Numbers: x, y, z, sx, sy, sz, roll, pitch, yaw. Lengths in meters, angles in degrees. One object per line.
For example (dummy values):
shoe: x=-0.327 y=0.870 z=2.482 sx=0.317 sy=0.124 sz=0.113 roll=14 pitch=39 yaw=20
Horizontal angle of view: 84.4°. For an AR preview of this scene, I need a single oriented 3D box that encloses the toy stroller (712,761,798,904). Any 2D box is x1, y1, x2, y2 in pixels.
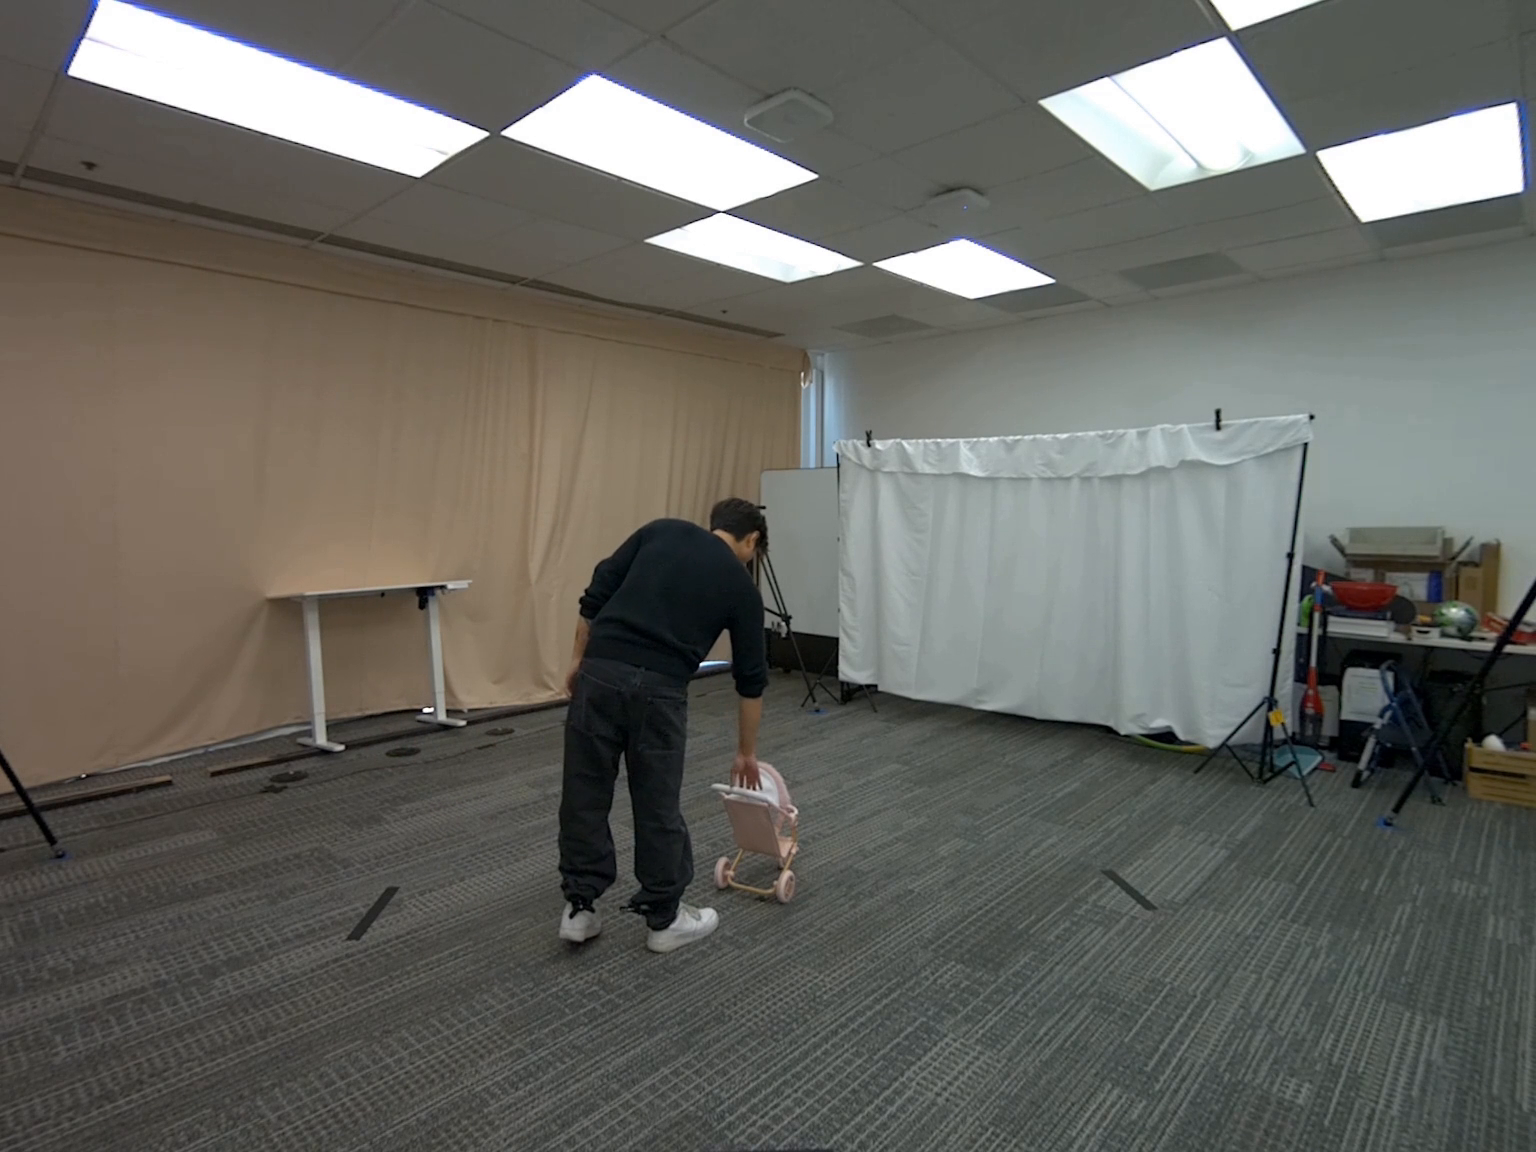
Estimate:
toy stroller: x=-0.018 y=0.910 z=3.061 sx=0.289 sy=0.528 sz=0.336 roll=2 pitch=19 yaw=30
